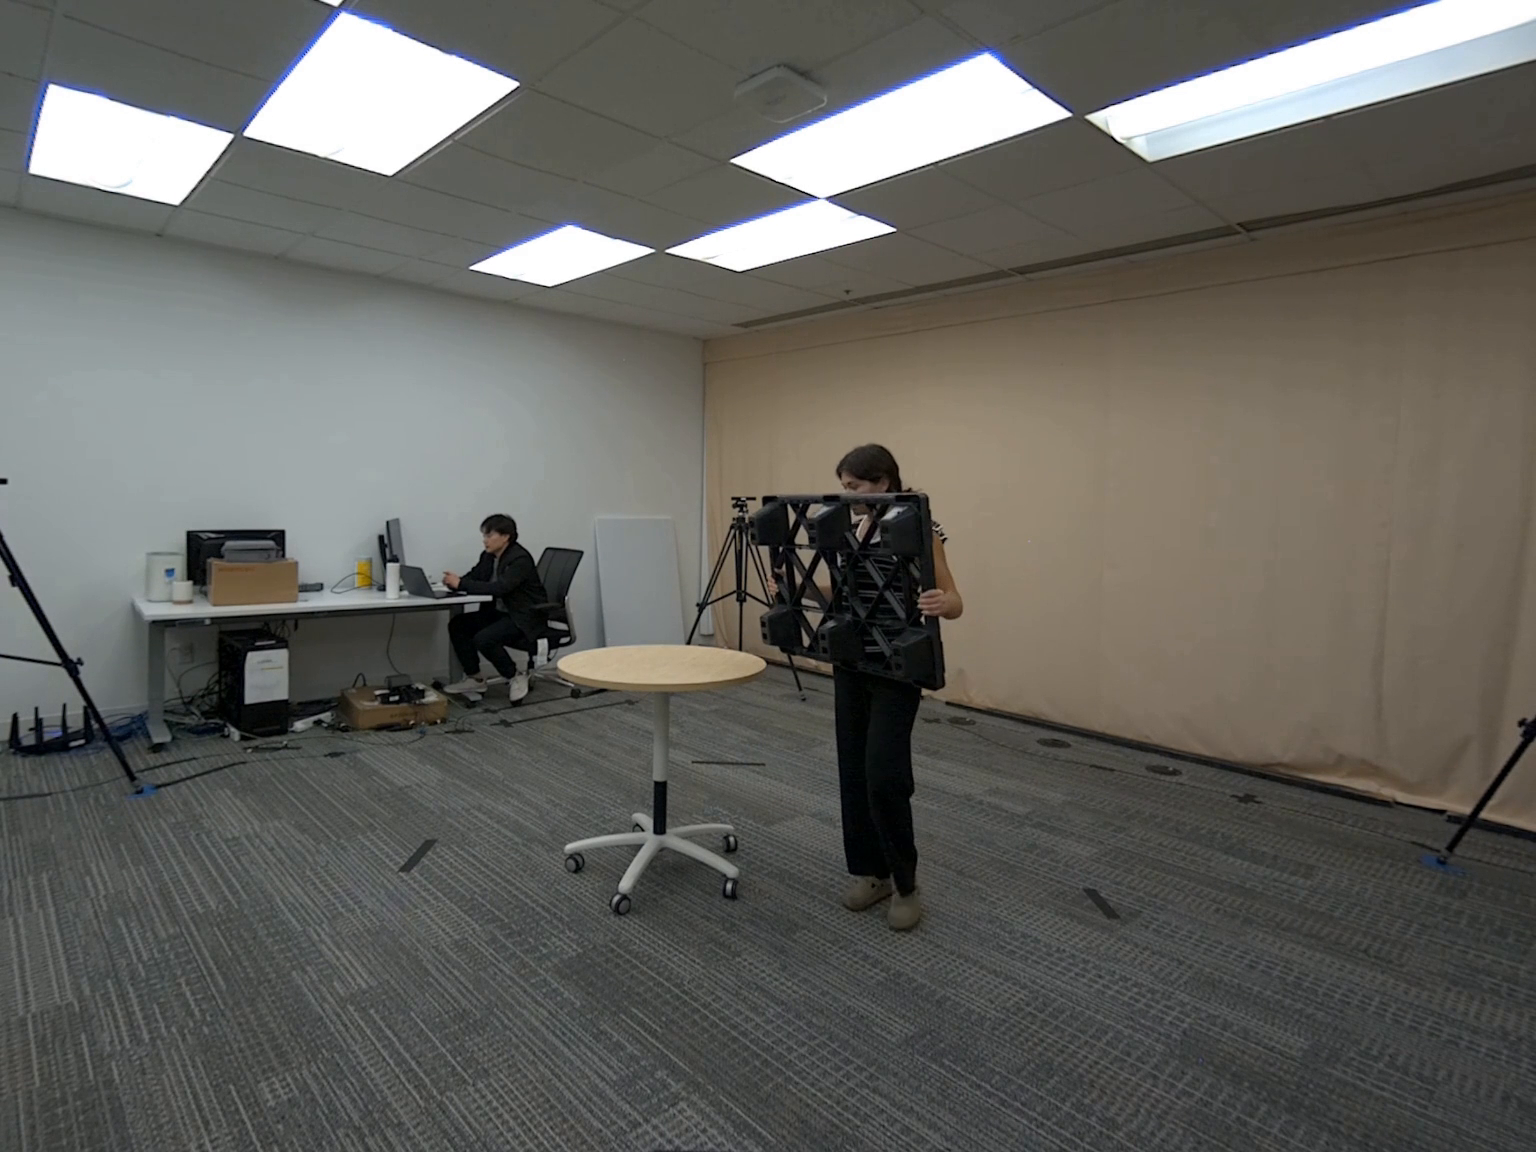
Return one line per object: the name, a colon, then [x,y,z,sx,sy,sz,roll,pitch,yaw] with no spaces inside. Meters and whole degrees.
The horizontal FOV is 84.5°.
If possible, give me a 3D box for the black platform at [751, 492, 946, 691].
black platform: [0.208,0.029,2.797,0.141,0.601,0.824,-12,10,-32]
